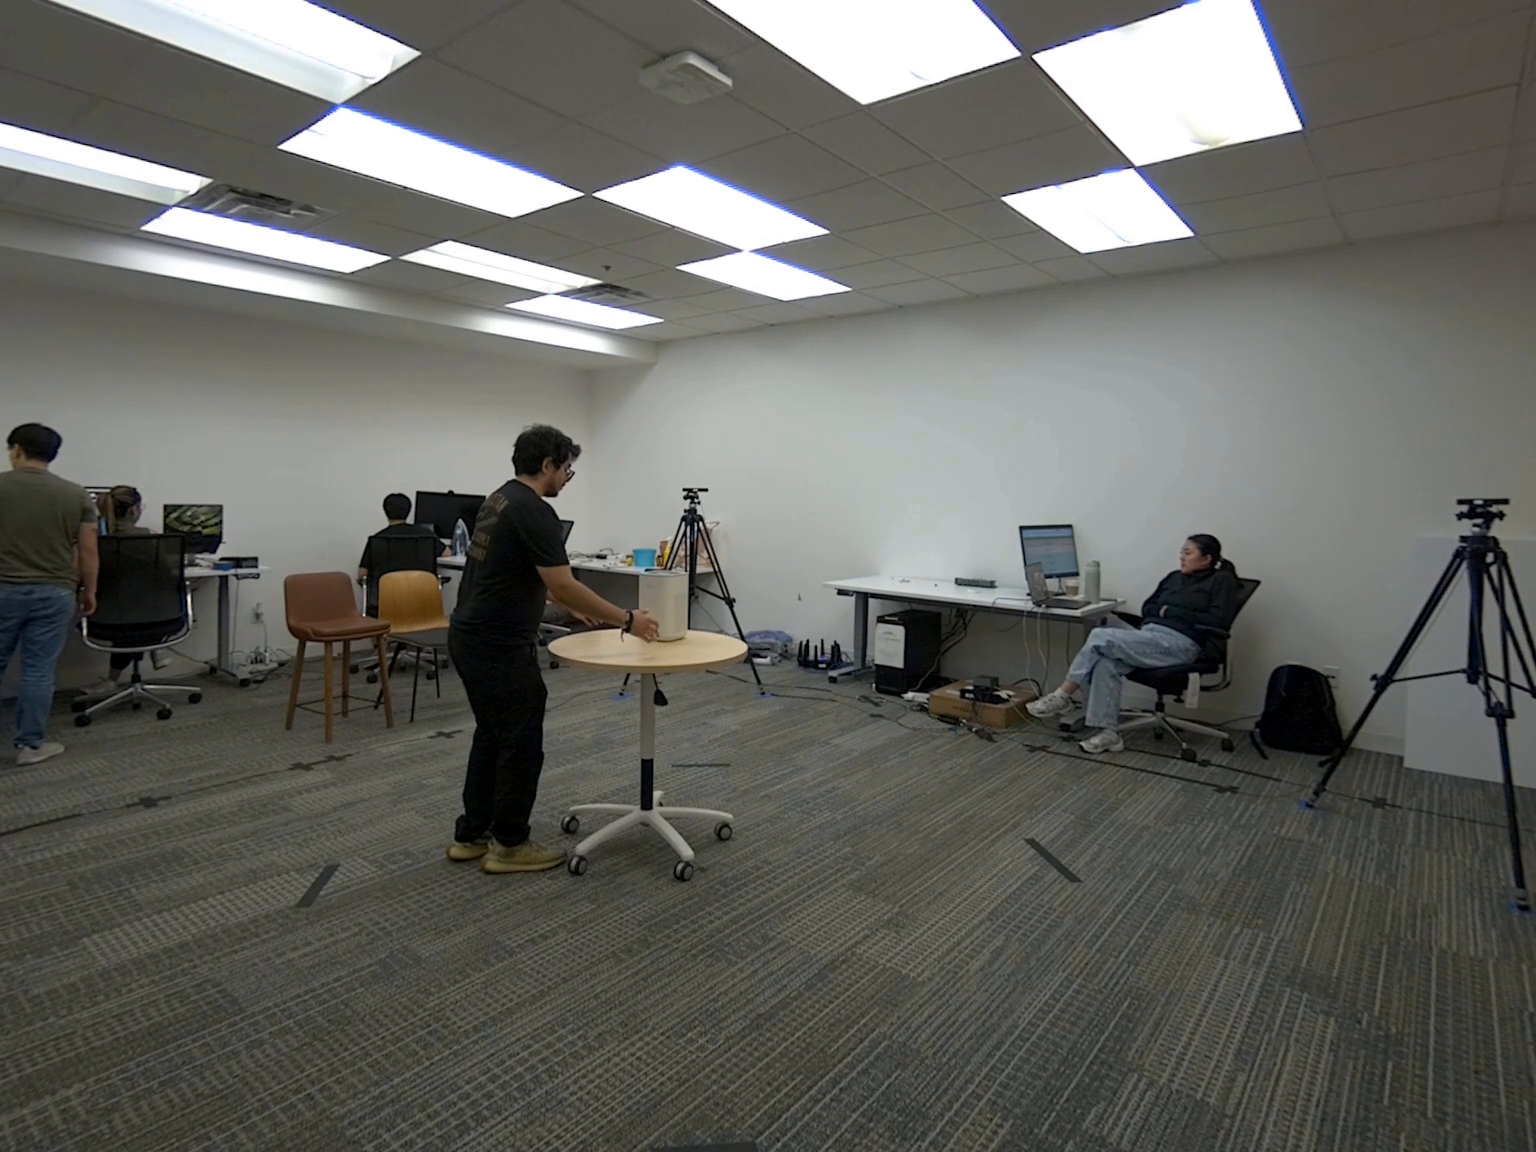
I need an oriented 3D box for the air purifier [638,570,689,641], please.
[{"bbox_3d":[-0.432,0.120,3.436,0.176,0.264,0.168,3,5,26],"label":"air purifier"}]
